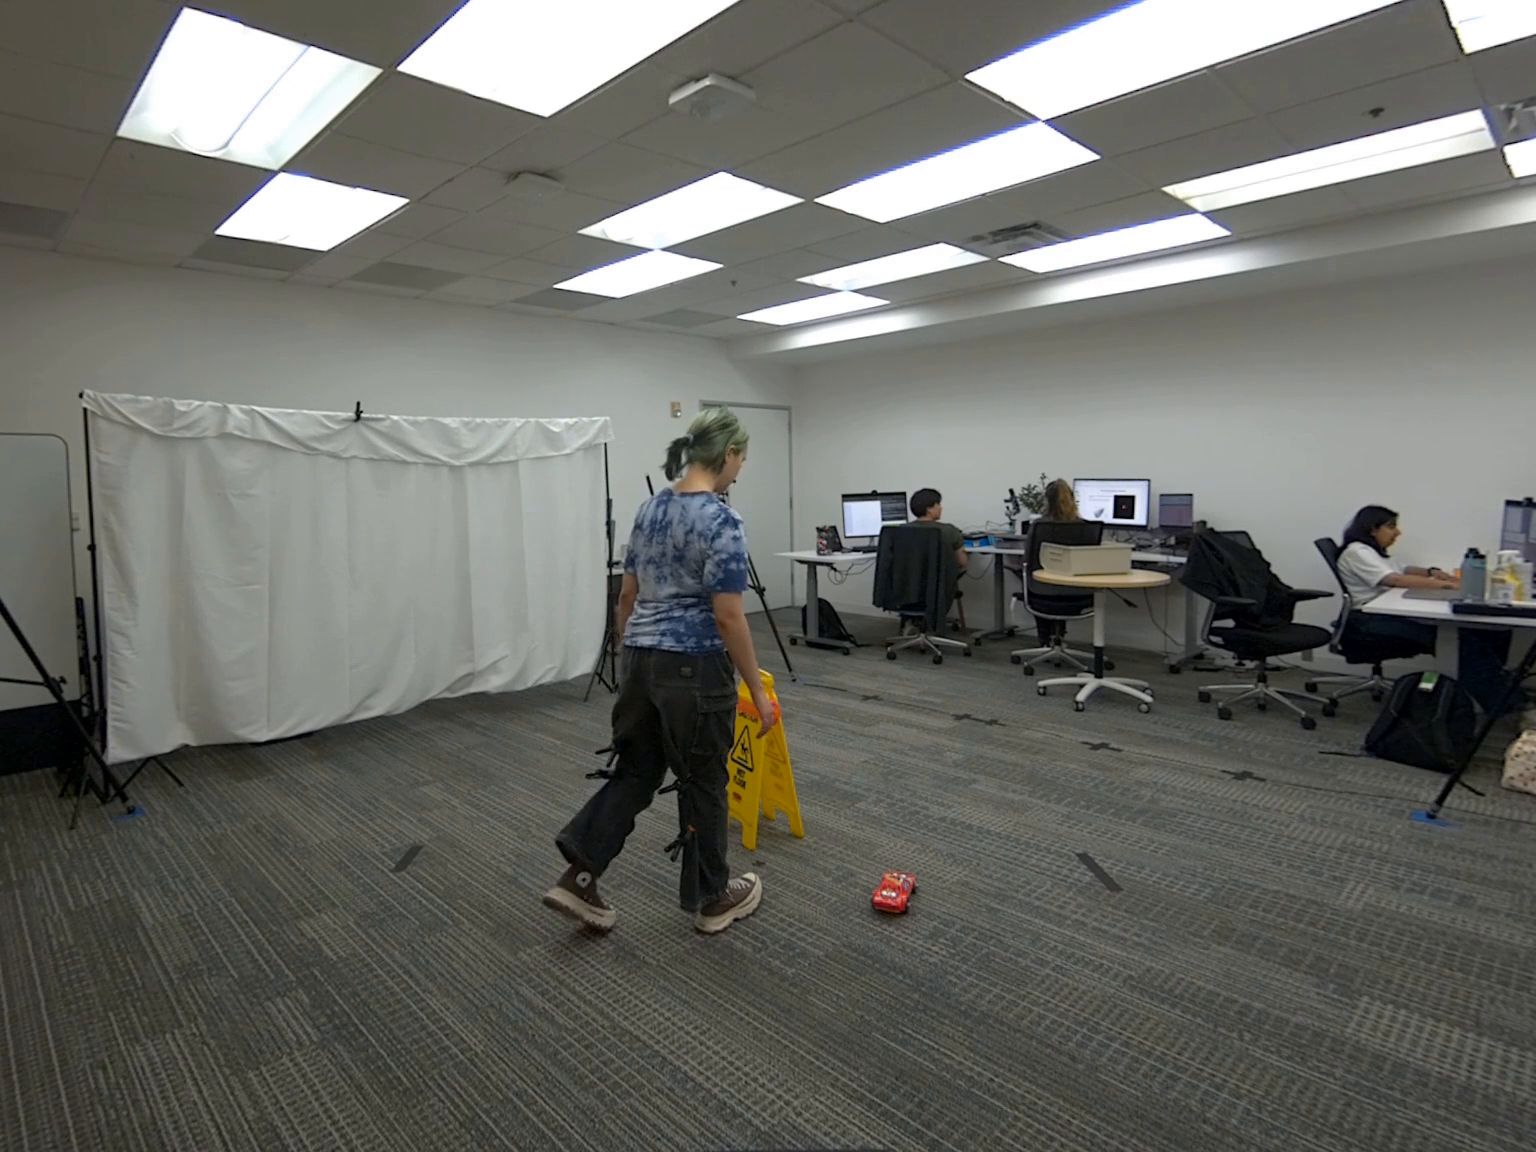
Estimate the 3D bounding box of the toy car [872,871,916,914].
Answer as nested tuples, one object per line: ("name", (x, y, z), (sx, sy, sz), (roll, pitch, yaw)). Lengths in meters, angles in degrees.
("toy car", (0.422, 1.043, 2.800), (0.133, 0.083, 0.248), (2, -4, 21))
